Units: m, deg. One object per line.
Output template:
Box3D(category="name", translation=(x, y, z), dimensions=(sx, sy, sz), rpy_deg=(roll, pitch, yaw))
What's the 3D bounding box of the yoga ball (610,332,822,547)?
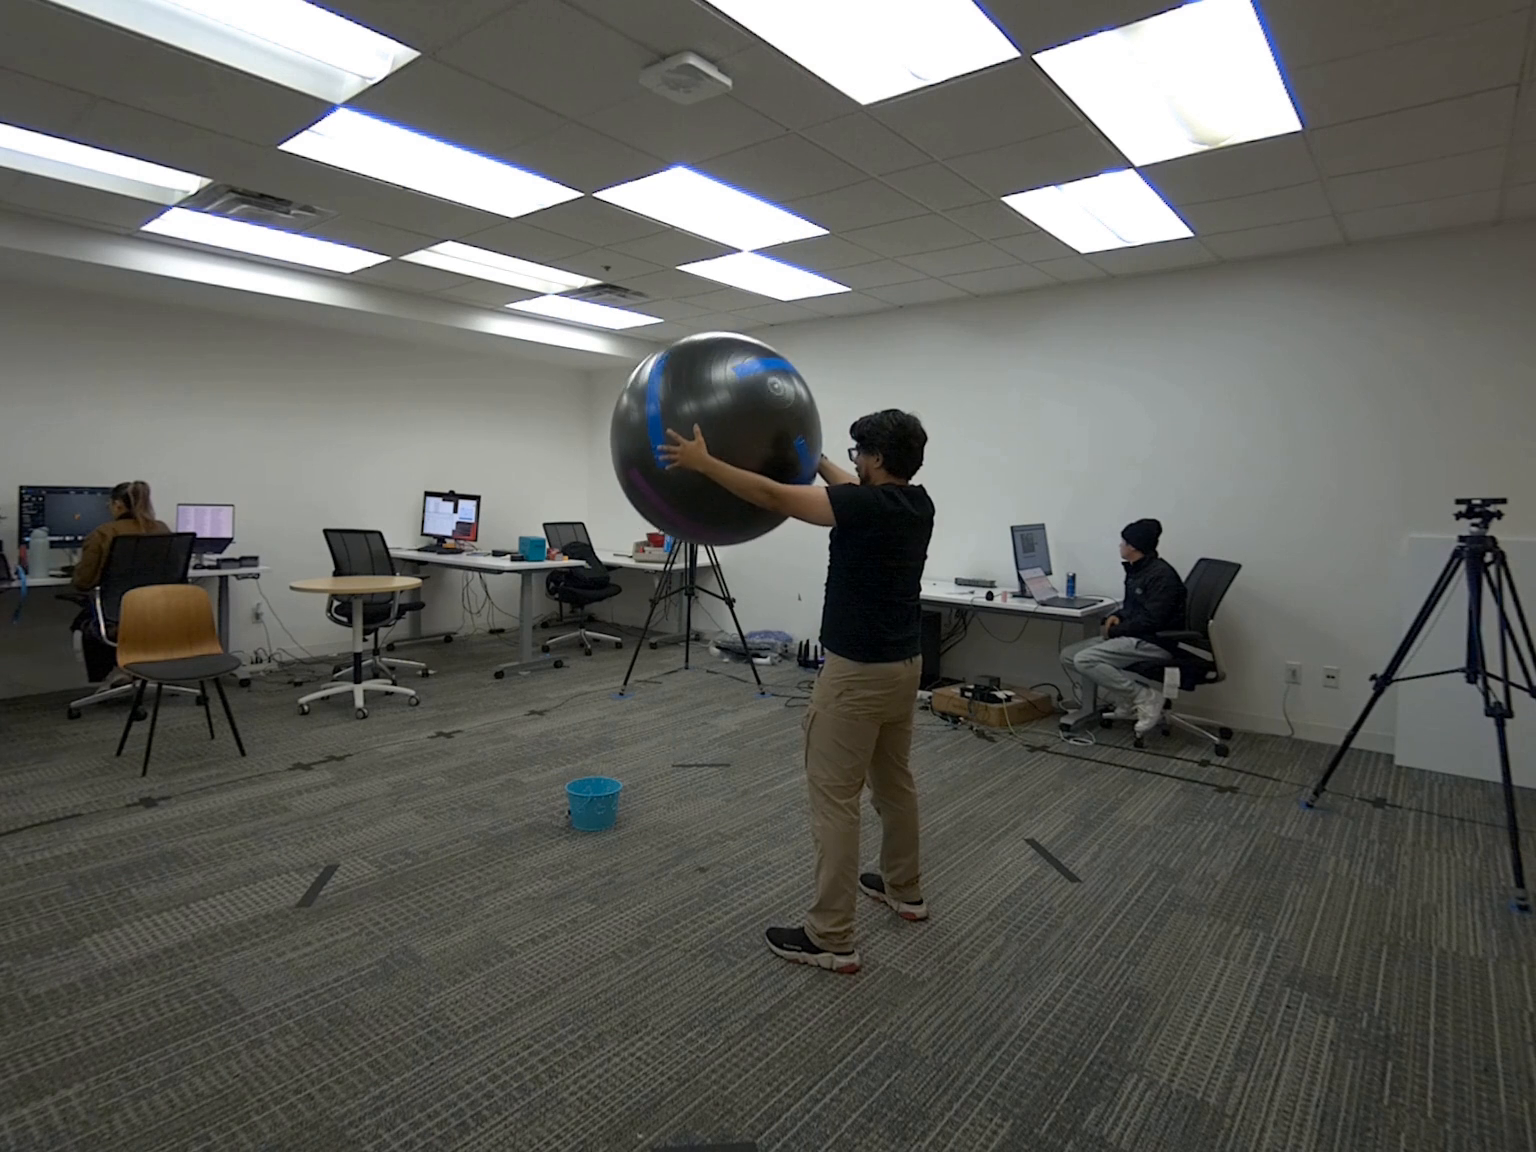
Box3D(category="yoga ball", translation=(-0.188, -0.472, 3.047), dimensions=(0.757, 0.756, 0.761), rpy_deg=(1, 4, -2))
